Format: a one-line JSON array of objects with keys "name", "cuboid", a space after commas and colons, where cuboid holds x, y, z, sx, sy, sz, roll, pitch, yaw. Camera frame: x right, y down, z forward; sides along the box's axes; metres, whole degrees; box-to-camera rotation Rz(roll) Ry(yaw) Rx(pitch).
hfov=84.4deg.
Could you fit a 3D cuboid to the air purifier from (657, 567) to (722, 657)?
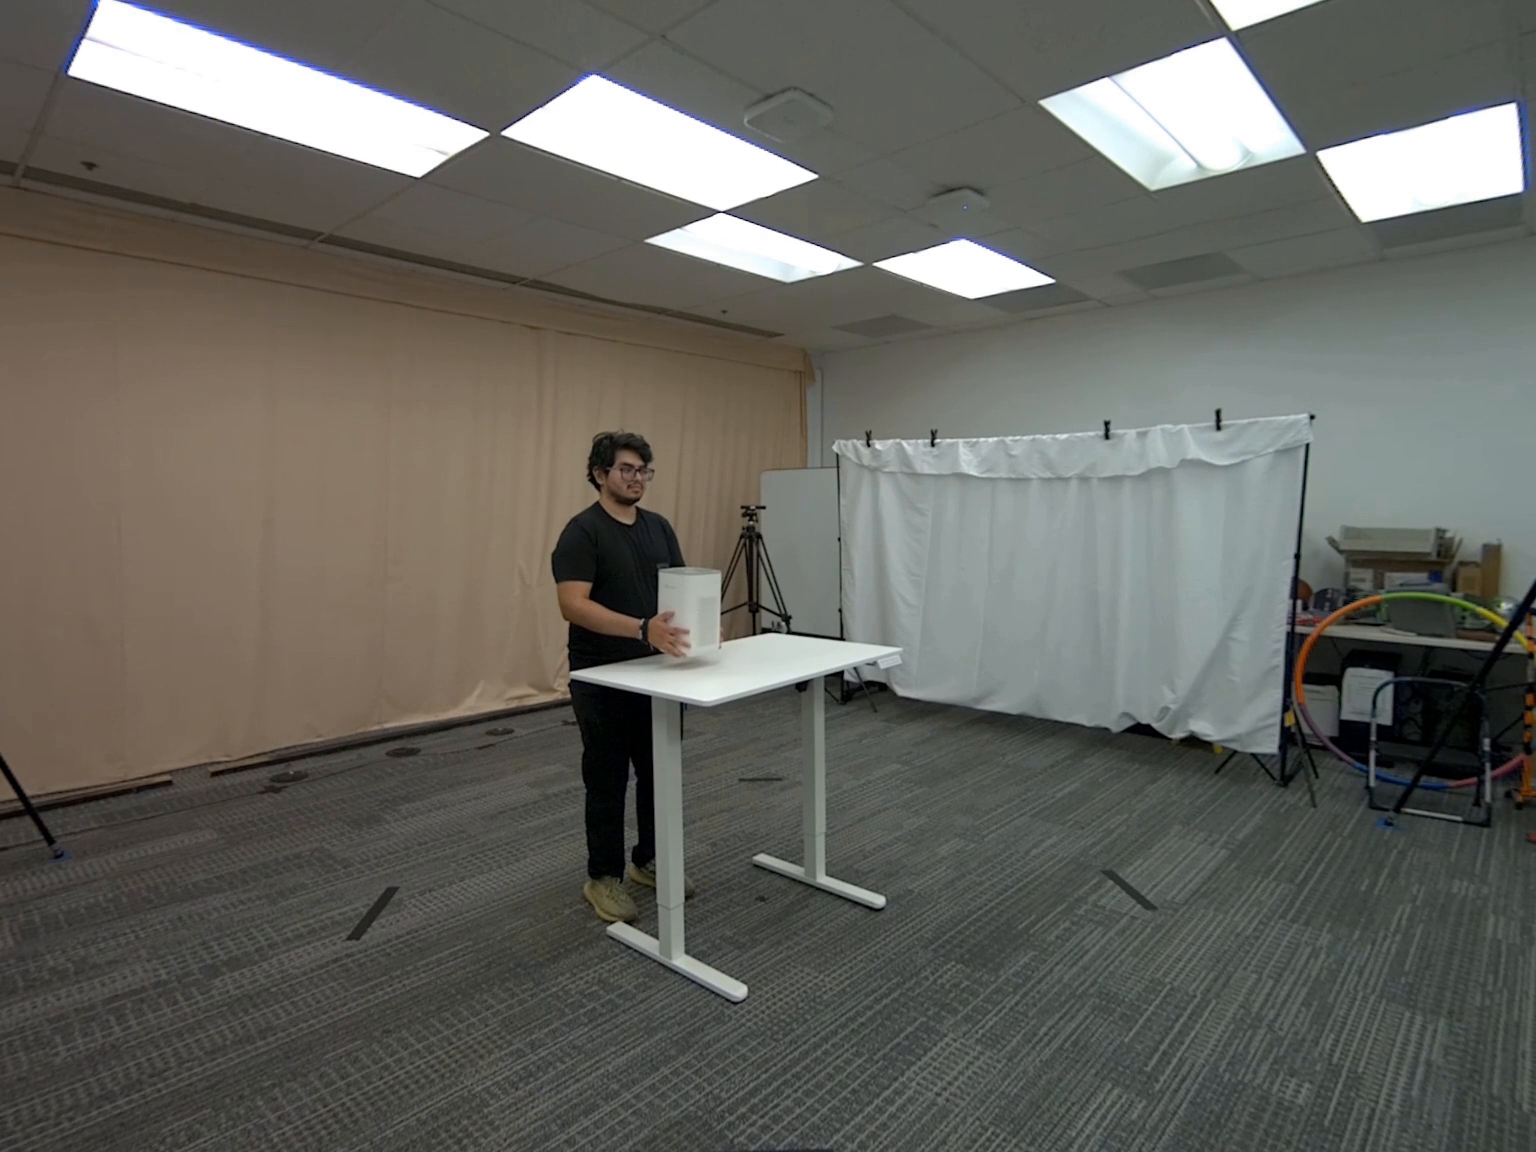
[{"name": "air purifier", "cuboid": [-0.242, 0.114, 2.673, 0.177, 0.265, 0.166, 4, 5, 40]}]
